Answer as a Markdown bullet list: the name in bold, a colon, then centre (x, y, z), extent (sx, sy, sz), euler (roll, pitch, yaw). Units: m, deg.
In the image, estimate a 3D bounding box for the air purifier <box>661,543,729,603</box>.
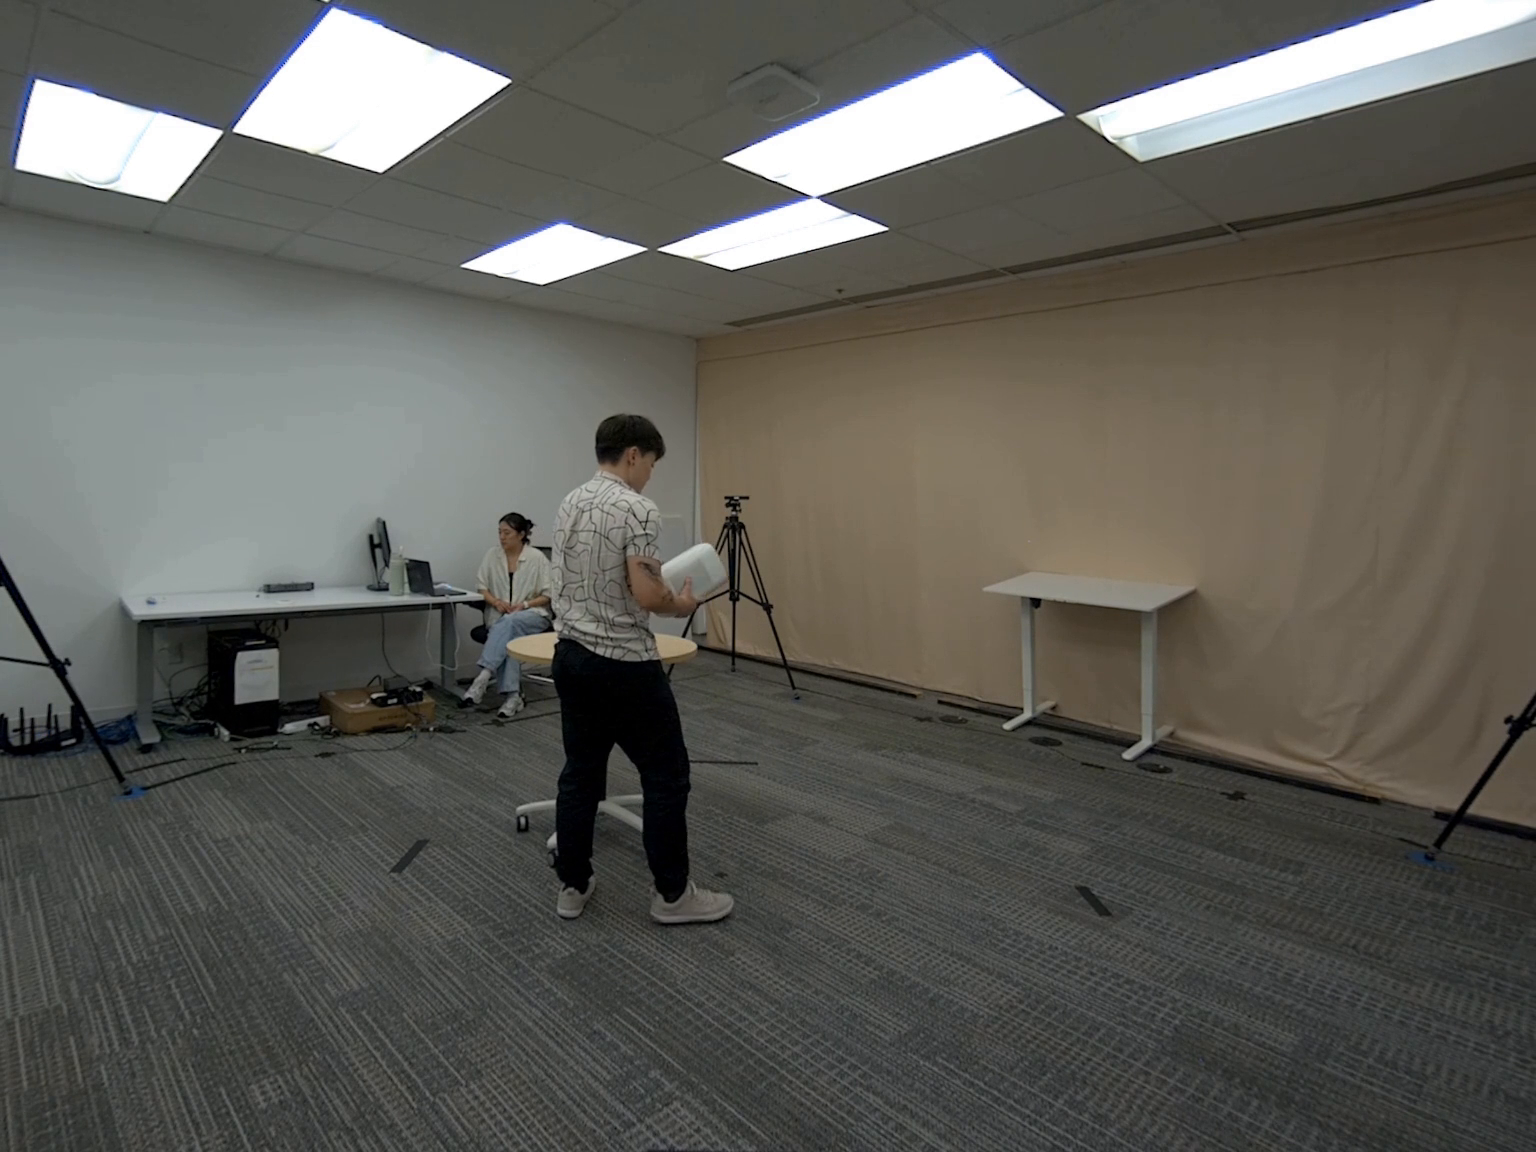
- **air purifier**: centre (-0.302, 0.016, 2.996), extent (0.263, 0.170, 0.174), euler (-34, 13, -35)
